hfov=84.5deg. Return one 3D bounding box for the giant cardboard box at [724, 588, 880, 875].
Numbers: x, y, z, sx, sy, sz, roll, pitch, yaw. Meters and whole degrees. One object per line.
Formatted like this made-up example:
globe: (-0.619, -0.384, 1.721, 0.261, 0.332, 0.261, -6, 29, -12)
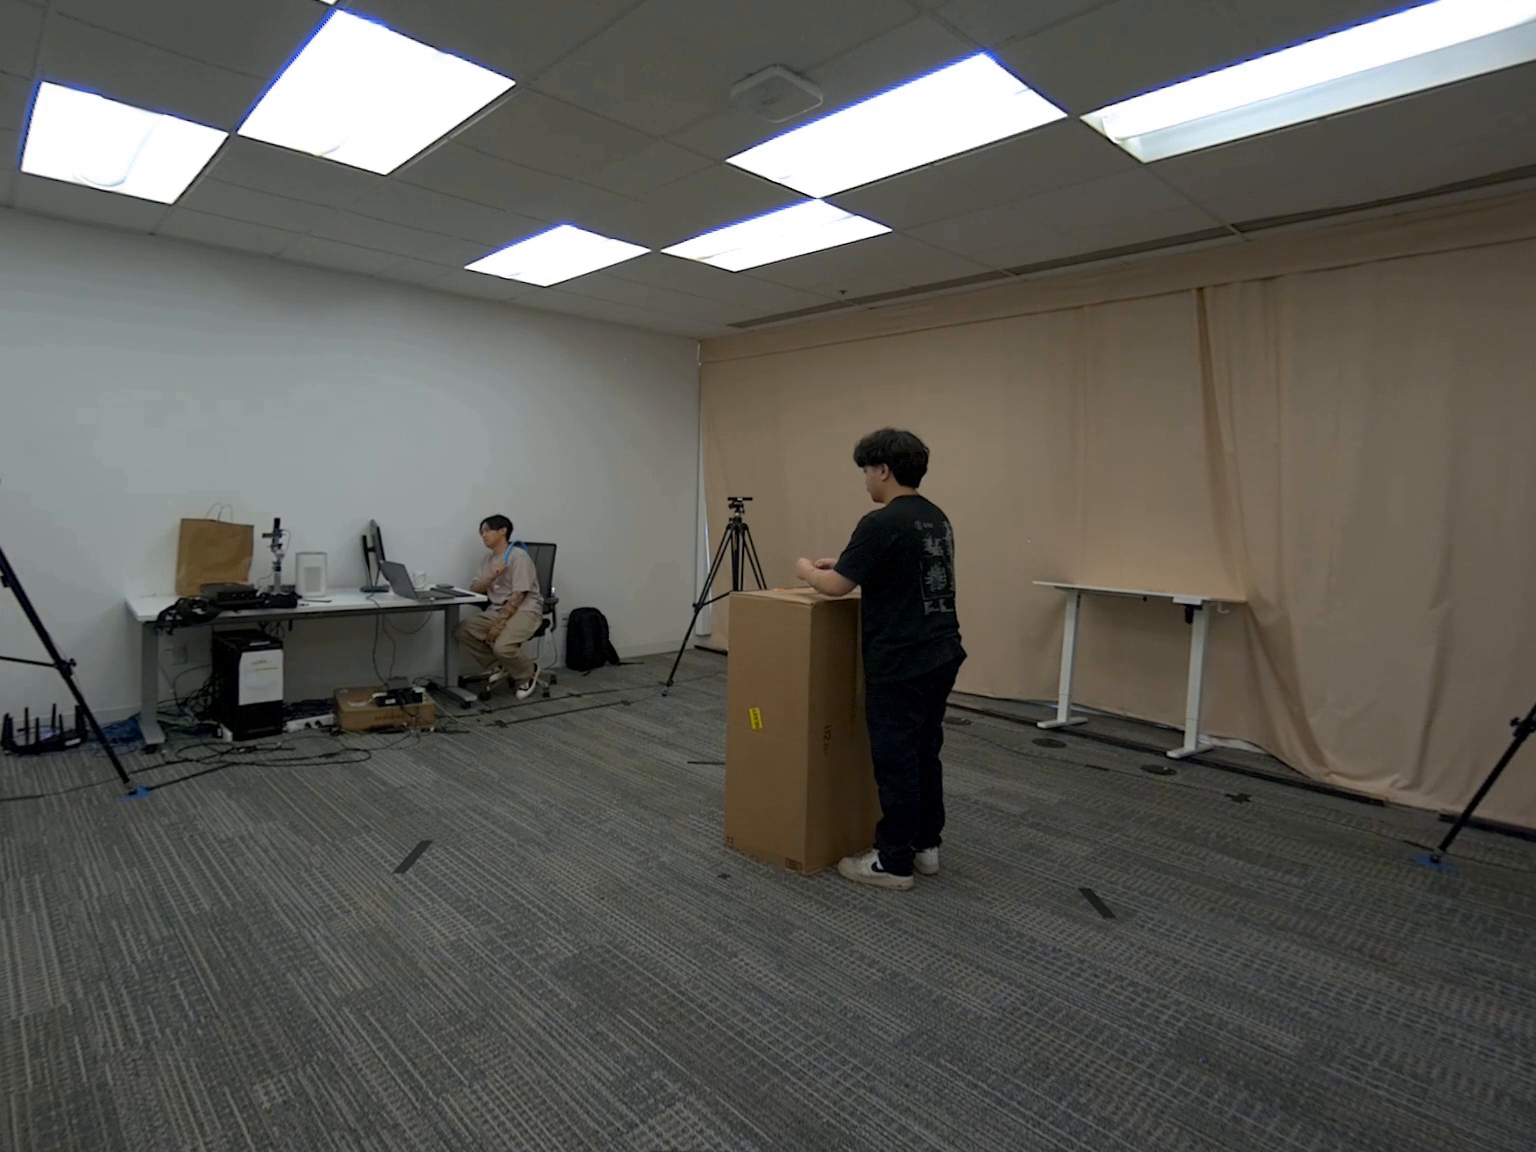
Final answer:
giant cardboard box: (0.168, 0.575, 3.437, 0.458, 1.025, 0.570, 3, 3, 44)
